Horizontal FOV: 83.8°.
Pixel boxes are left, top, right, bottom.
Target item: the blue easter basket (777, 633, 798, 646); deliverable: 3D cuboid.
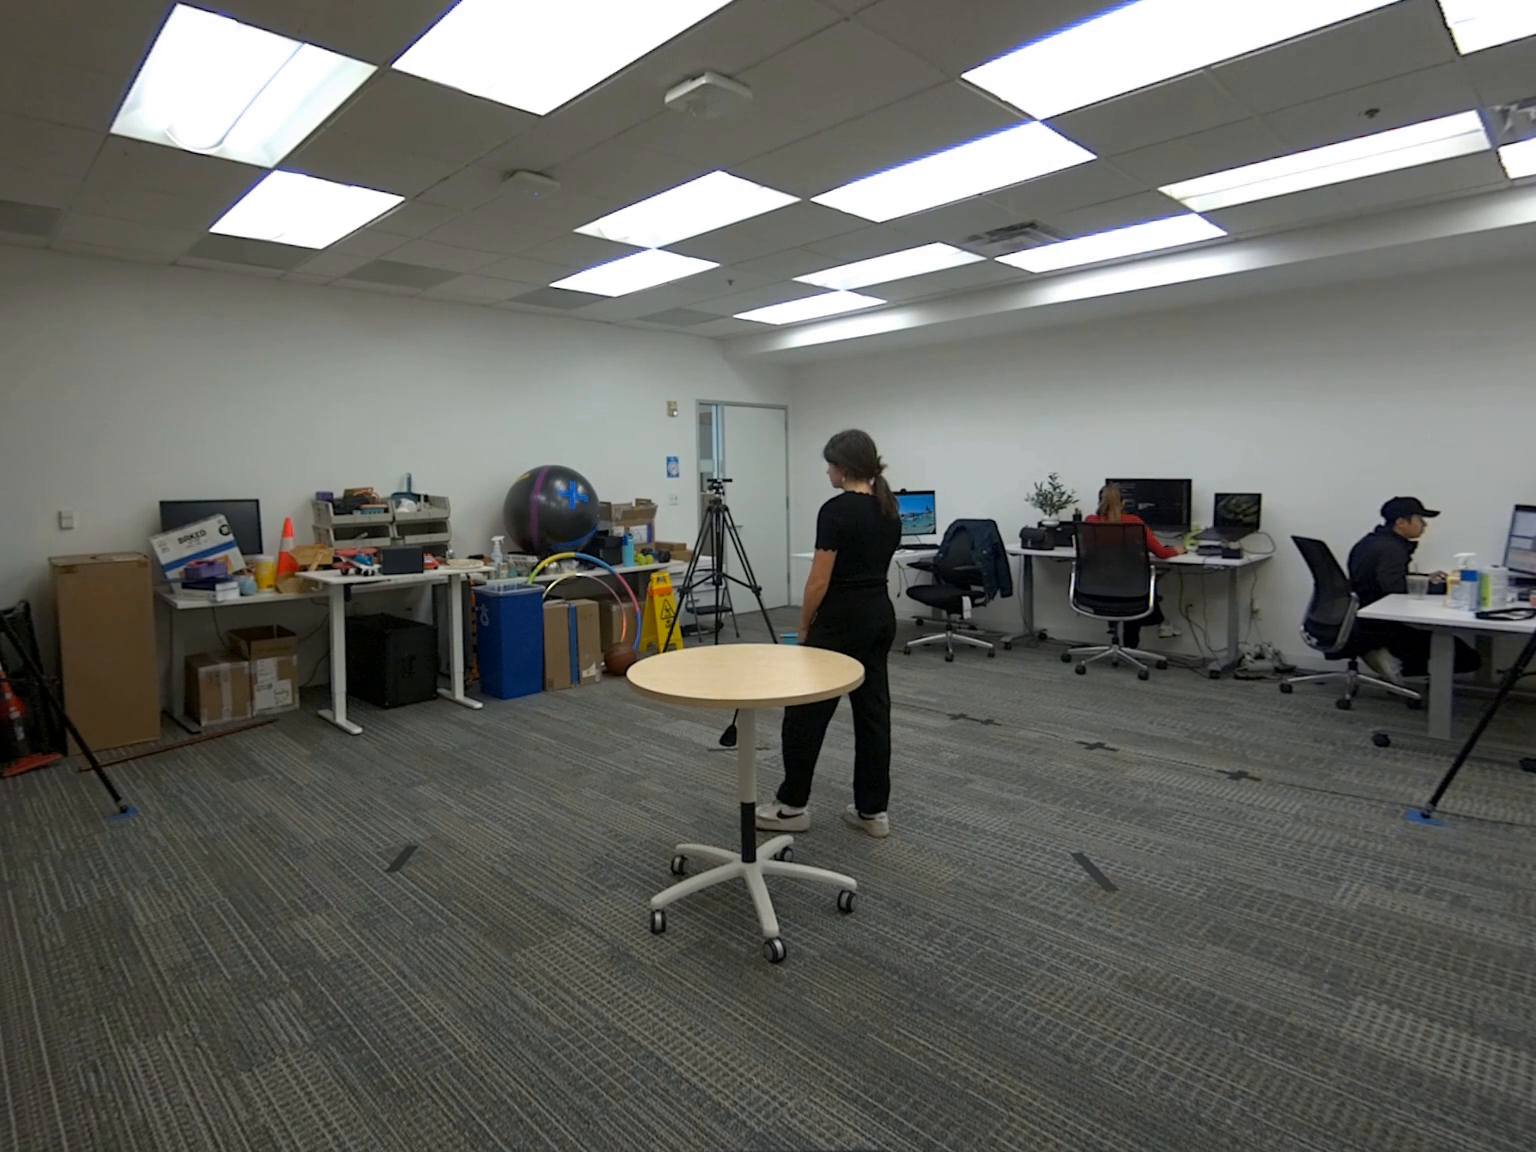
[{"bbox_3d":[0.180,0.317,3.570,0.243,0.156,0.243,-2,-3,-2],"label":"blue easter basket"}]
